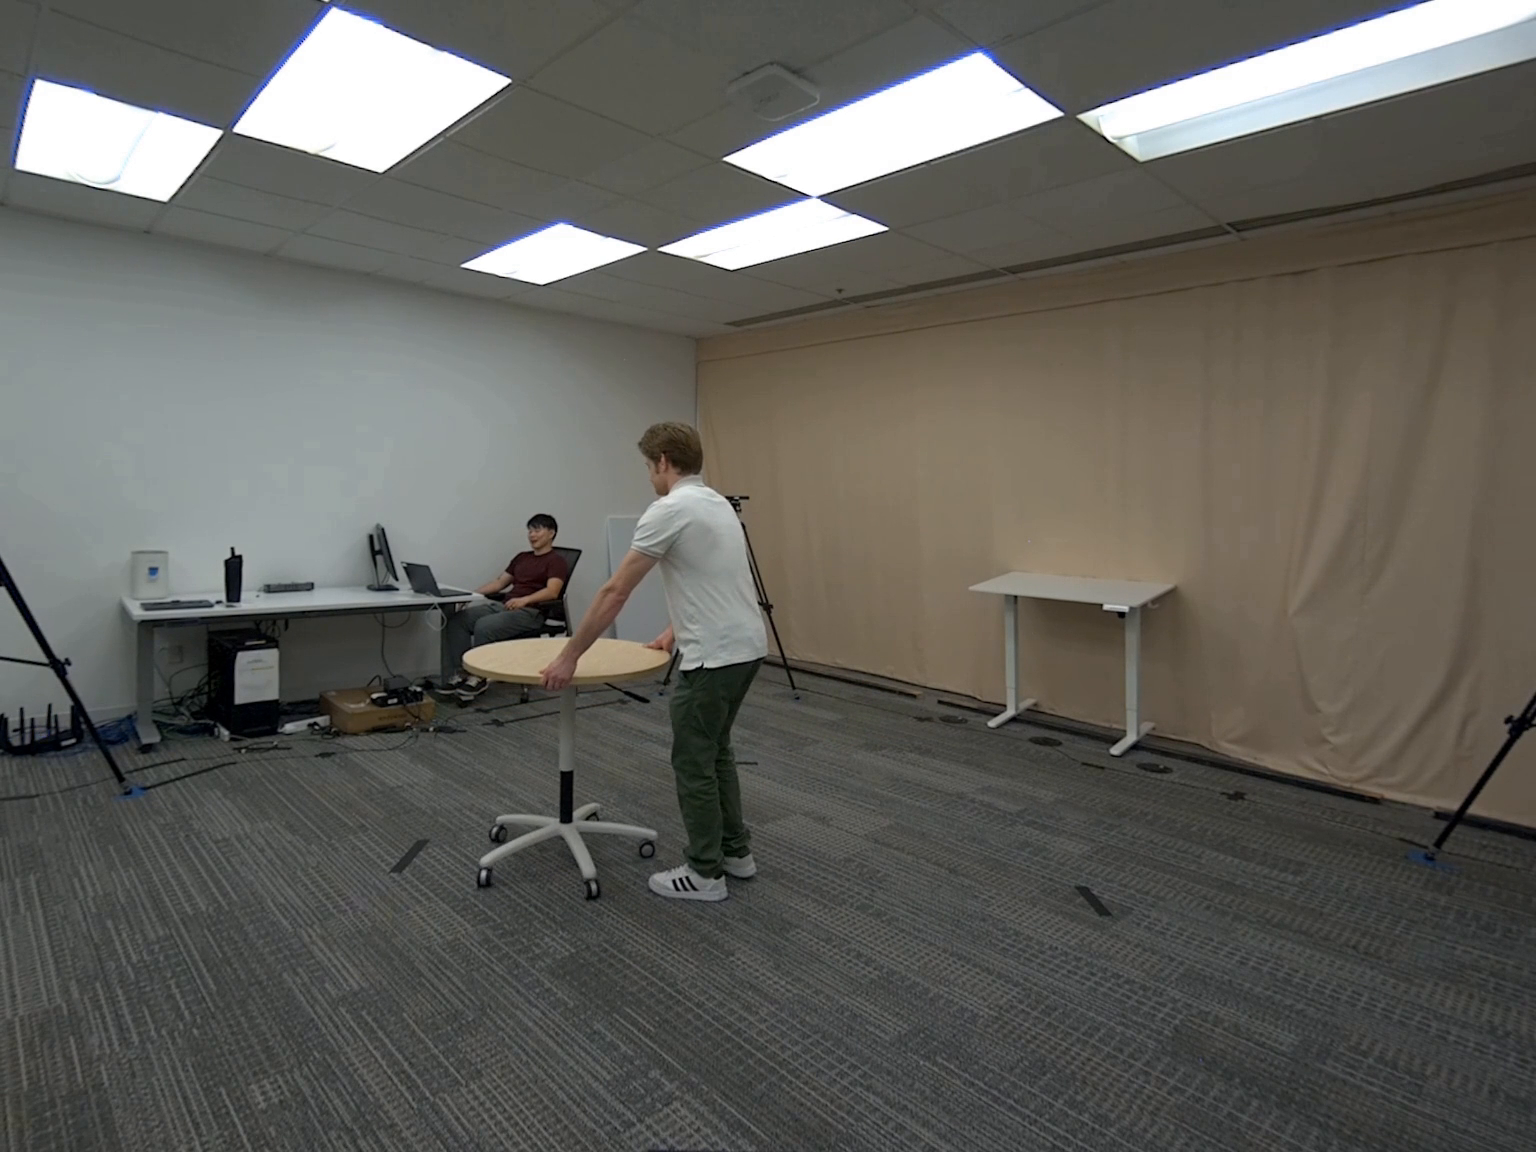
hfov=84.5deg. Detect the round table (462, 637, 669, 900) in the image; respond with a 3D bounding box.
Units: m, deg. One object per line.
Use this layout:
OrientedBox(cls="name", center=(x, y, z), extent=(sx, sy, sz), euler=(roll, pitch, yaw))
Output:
OrientedBox(cls="round table", center=(-0.769, 0.693, 3.201), extent=(0.763, 0.792, 0.766), euler=(2, 4, -1))
